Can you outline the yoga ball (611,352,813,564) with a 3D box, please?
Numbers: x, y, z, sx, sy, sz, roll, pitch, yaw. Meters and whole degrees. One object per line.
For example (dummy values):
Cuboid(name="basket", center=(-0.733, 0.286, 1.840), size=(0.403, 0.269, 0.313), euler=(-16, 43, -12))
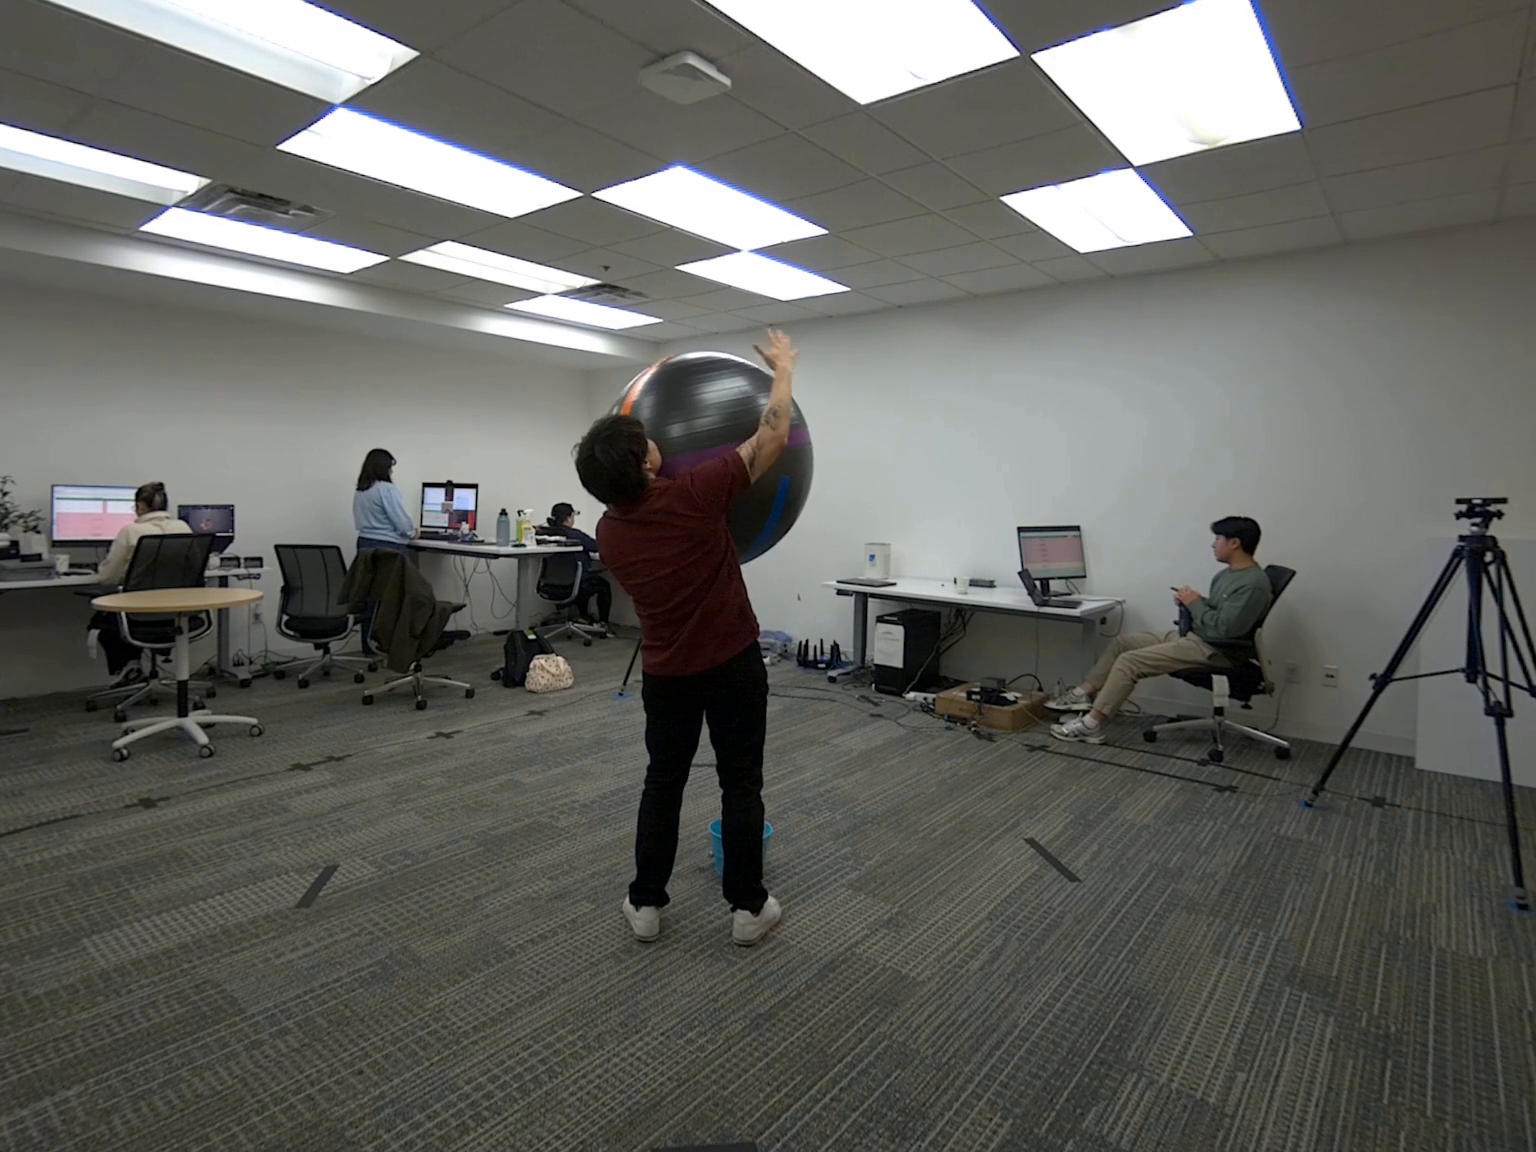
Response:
Cuboid(name="yoga ball", center=(-0.232, -0.396, 2.985), size=(0.757, 0.756, 0.762), euler=(1, 4, -2))
